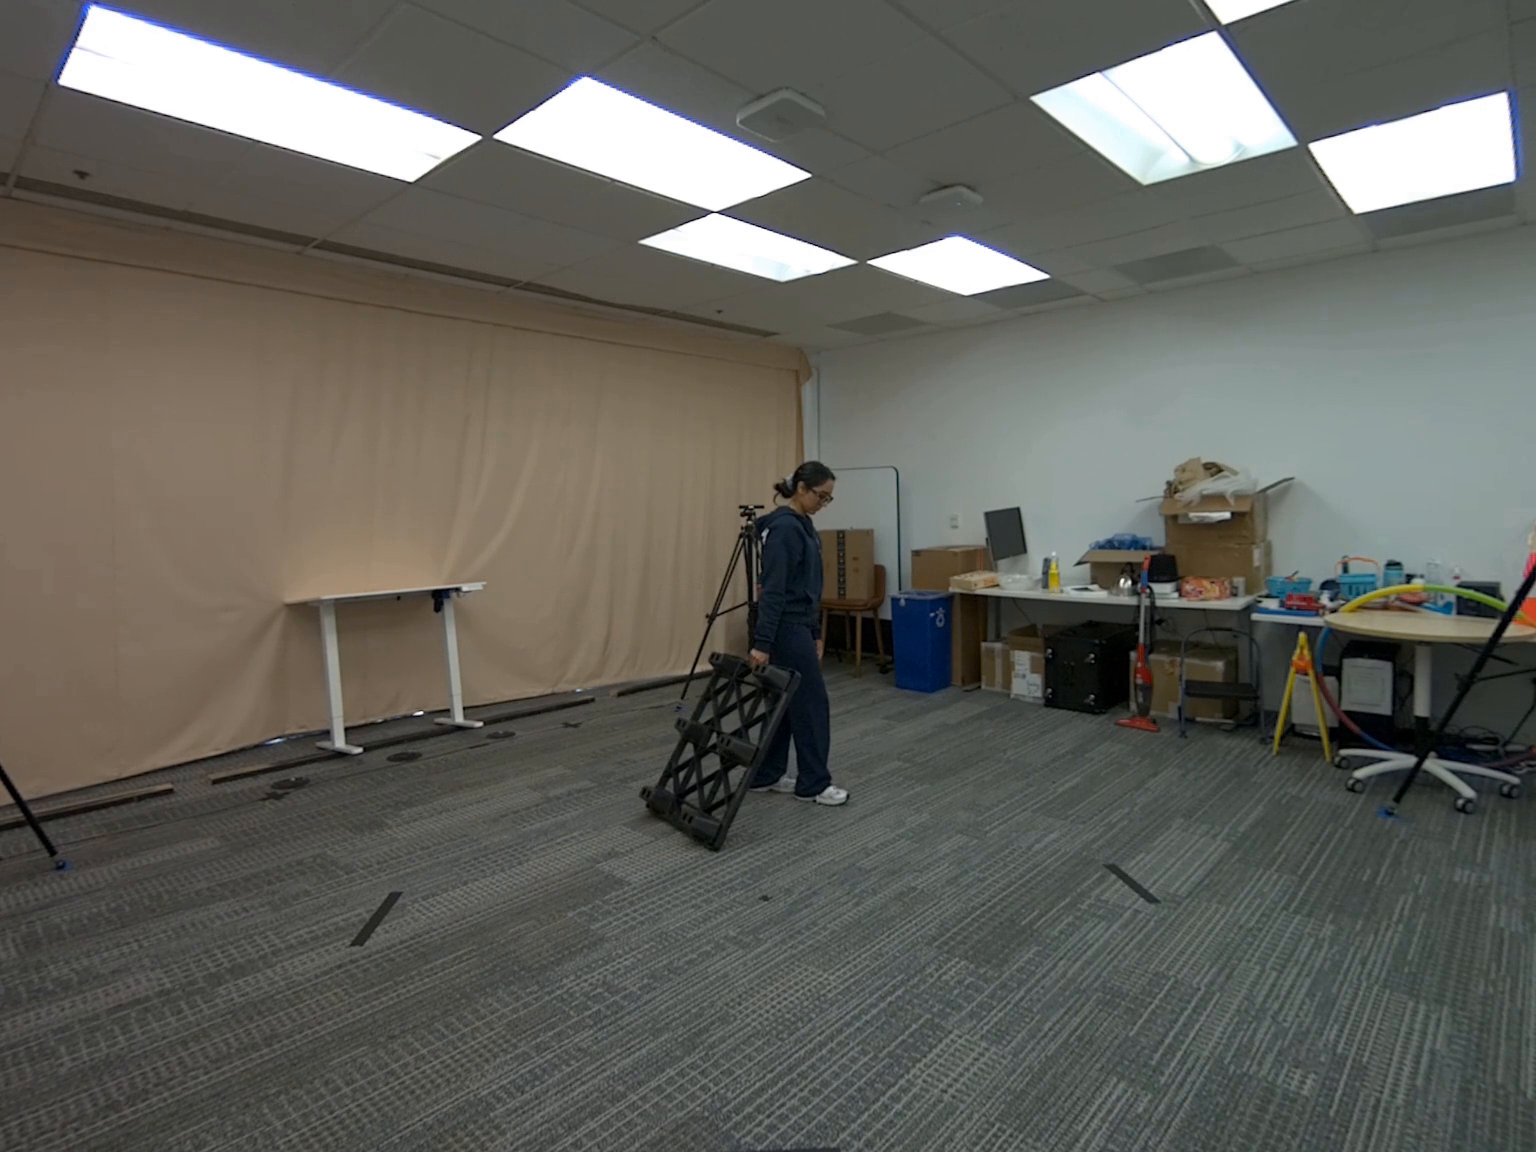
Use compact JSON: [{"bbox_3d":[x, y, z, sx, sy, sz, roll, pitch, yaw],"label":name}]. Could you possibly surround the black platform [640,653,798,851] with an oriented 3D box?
[{"bbox_3d":[-0.230,0.718,3.706,0.139,0.806,0.623,36,-17,-30],"label":"black platform"}]
